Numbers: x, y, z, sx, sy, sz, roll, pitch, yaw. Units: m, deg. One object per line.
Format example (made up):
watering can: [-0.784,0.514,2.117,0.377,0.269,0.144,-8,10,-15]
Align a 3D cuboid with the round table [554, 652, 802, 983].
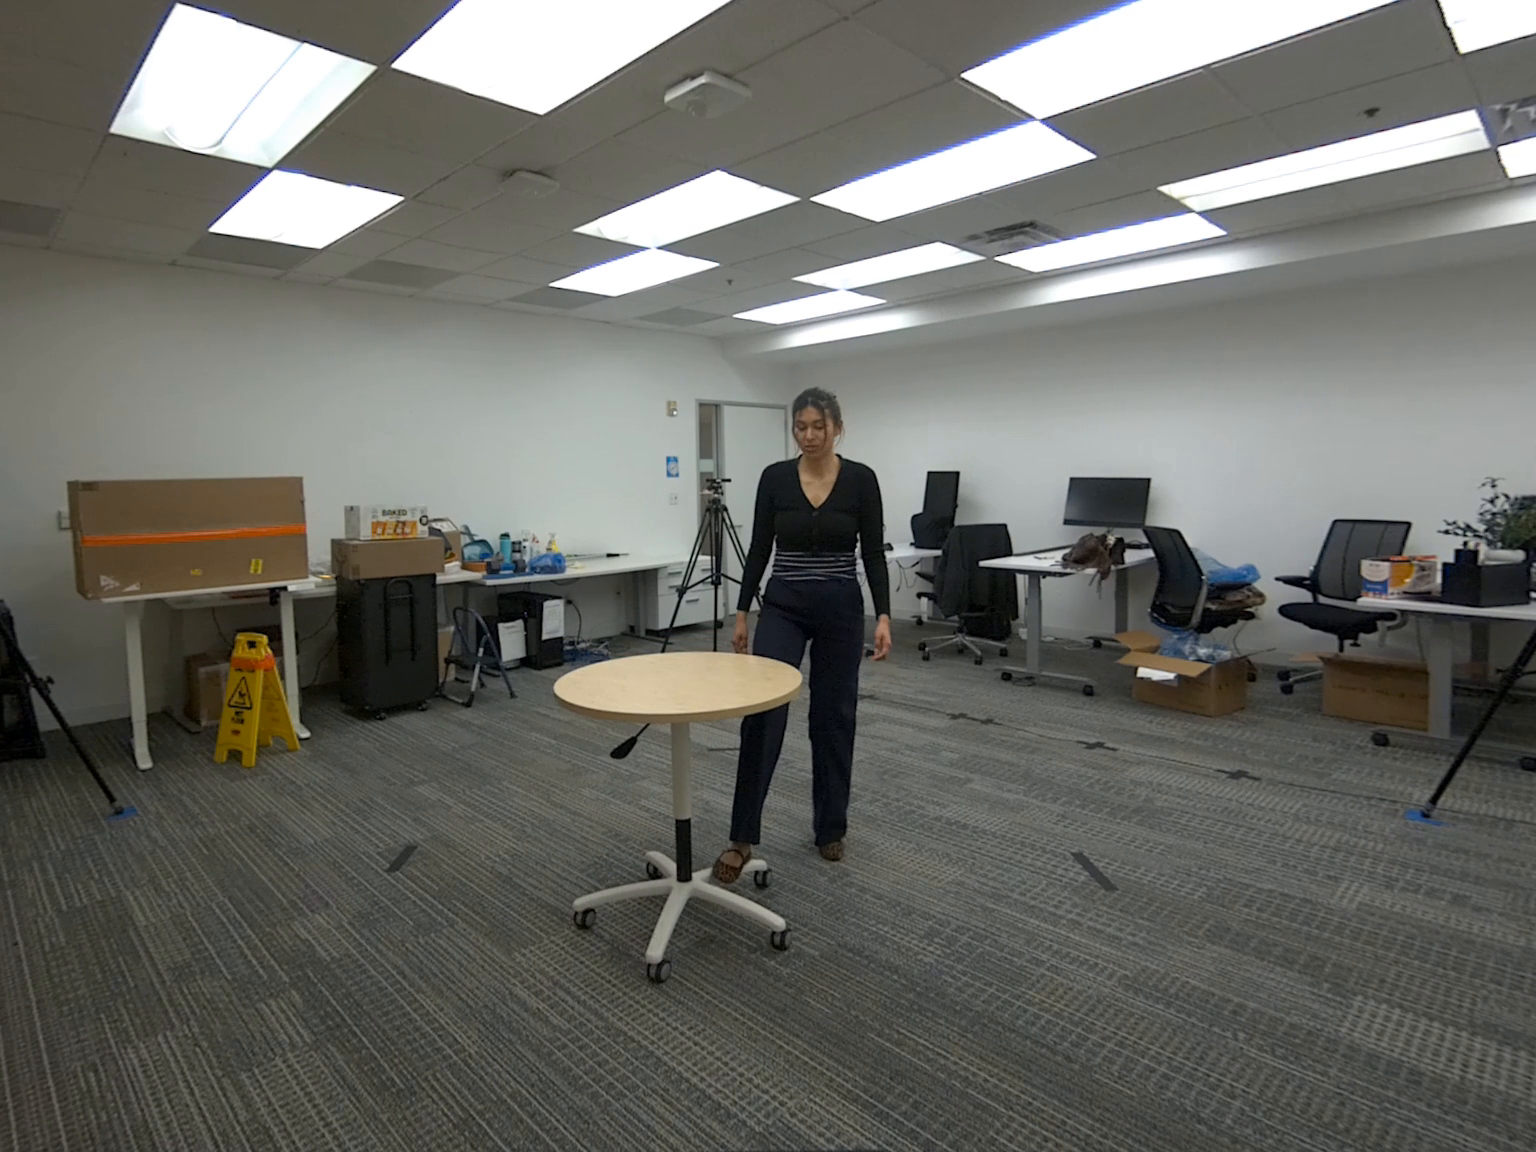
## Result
round table: [-0.260,0.710,2.674,0.763,0.790,0.768,-2,6,-1]
